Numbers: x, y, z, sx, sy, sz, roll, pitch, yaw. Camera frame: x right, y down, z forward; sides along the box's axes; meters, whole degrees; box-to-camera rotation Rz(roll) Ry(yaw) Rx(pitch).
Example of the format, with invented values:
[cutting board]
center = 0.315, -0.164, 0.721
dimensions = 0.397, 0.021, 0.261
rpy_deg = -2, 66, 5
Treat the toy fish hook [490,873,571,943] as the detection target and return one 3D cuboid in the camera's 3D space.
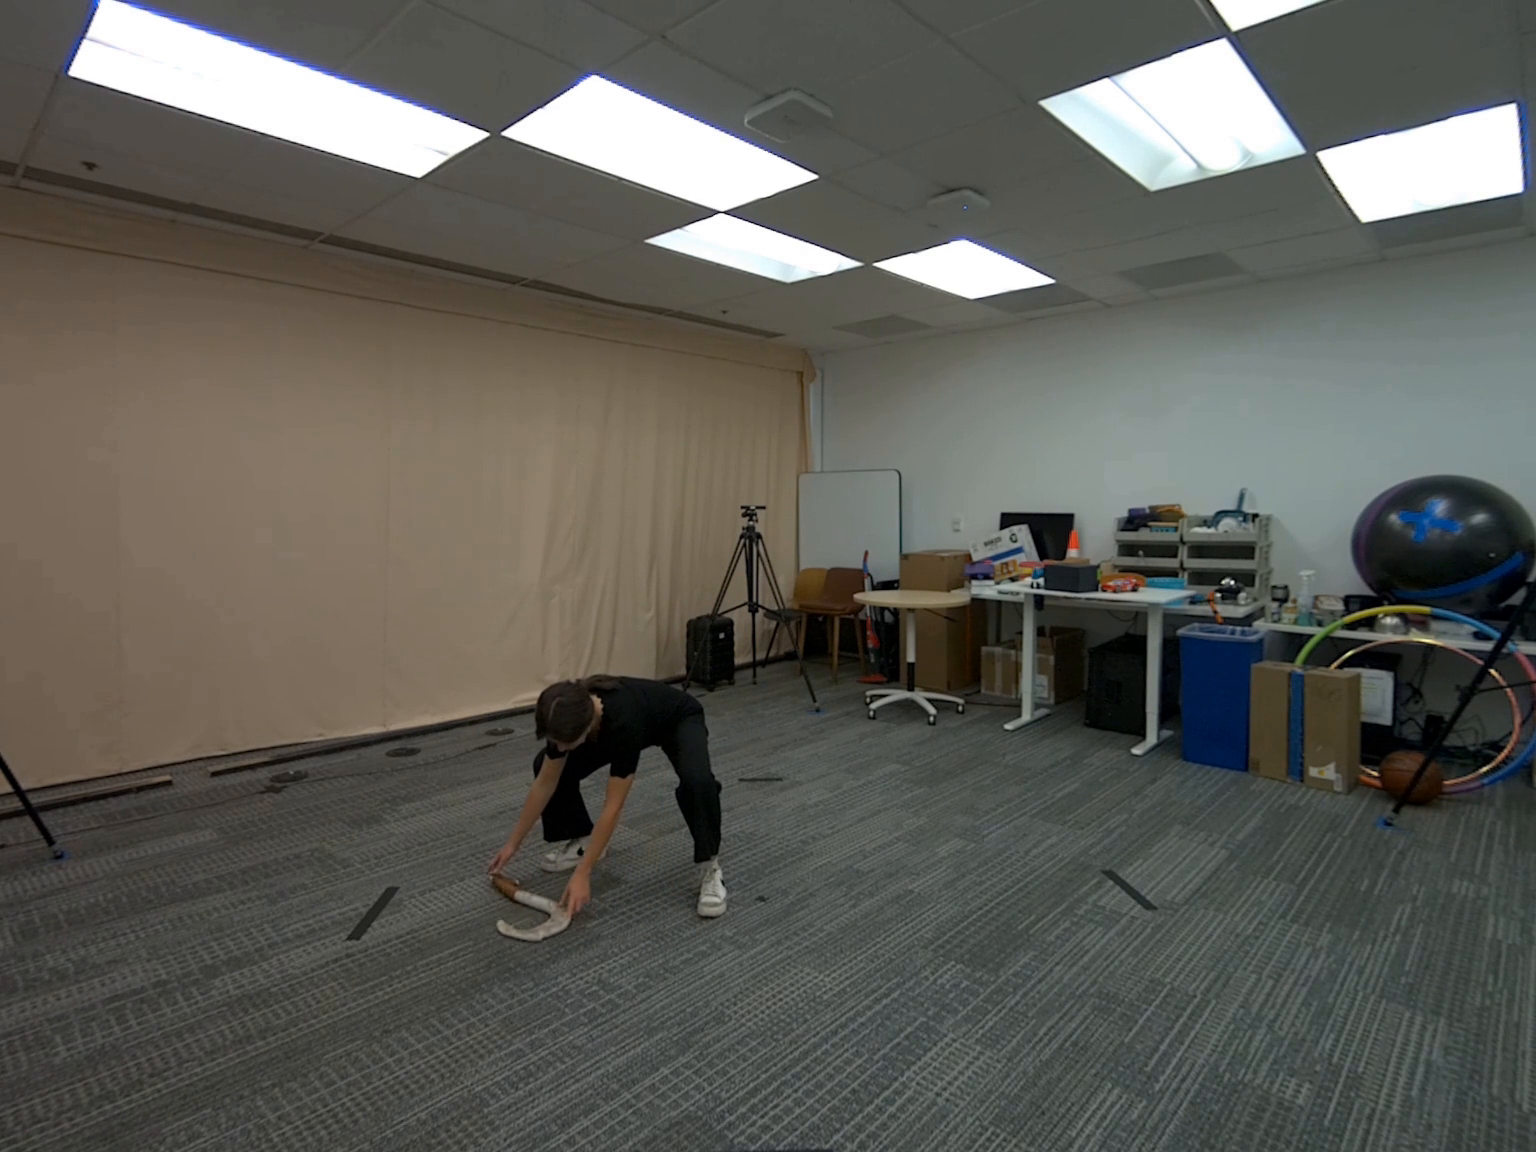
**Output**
[toy fish hook]
center = -0.870, 1.138, 2.904
dimensions = 0.217, 0.048, 0.523
rpy_deg = -2, 3, -45
